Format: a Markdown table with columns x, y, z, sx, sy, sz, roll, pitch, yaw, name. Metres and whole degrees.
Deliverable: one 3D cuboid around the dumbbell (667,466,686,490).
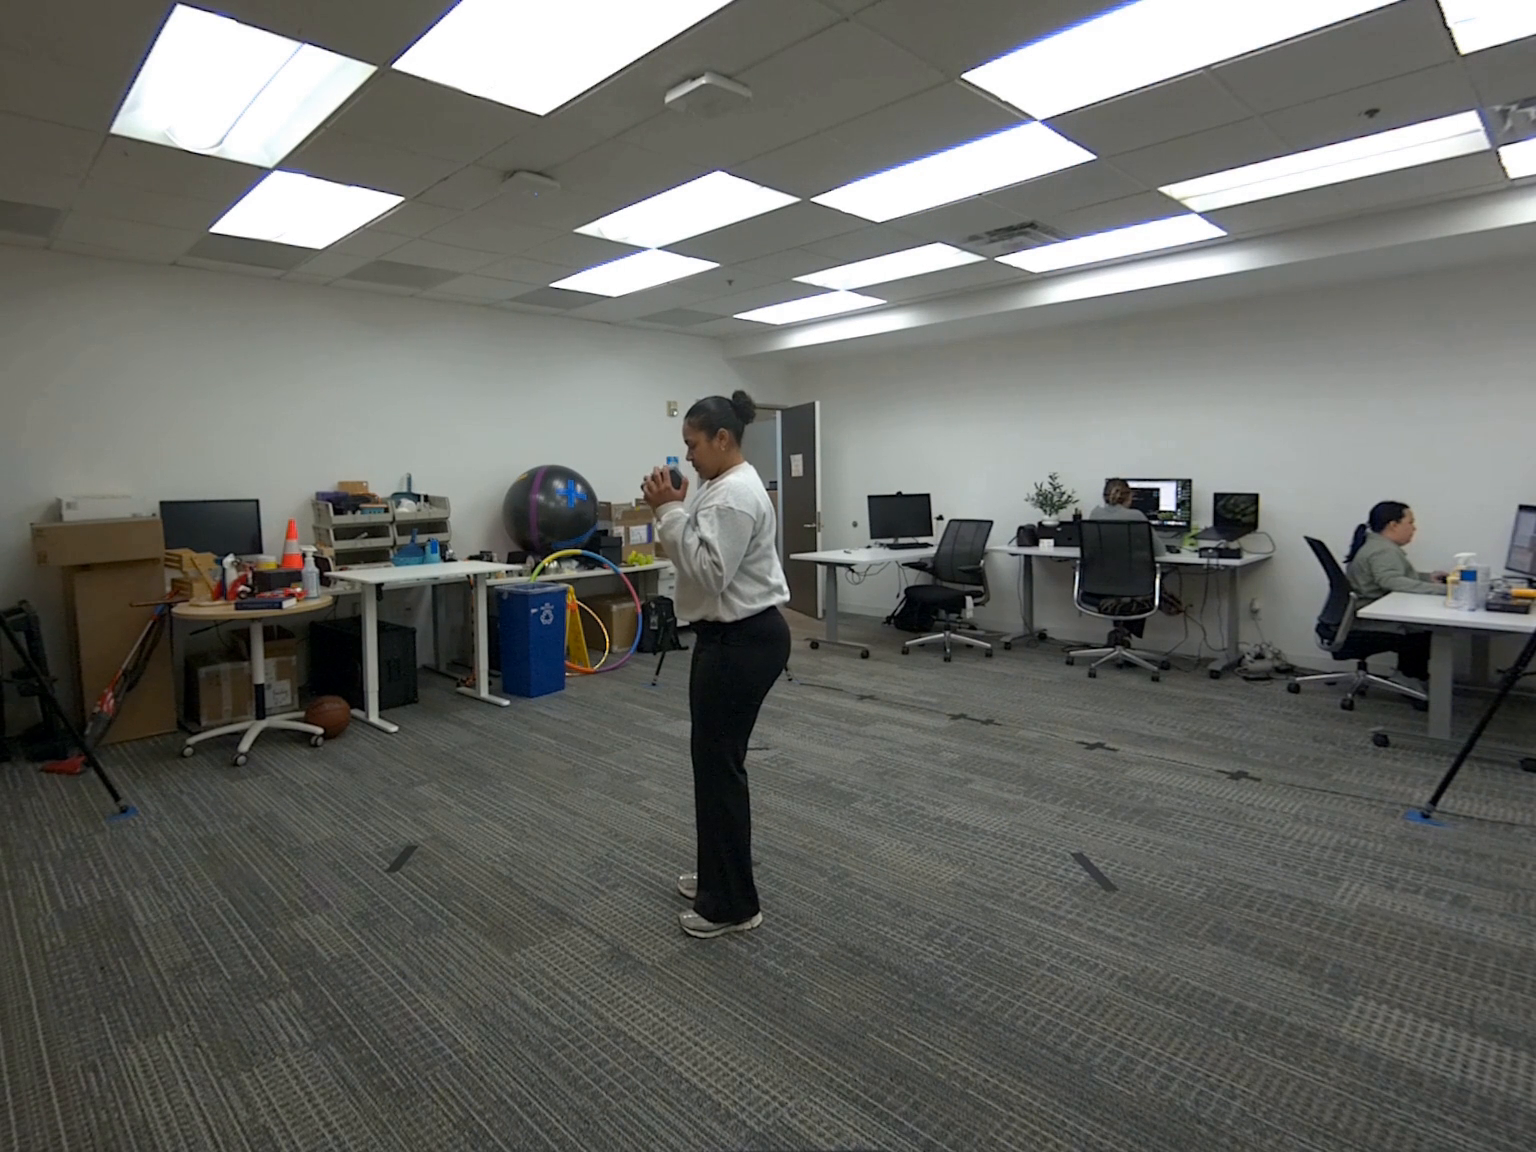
| x | y | z | sx | sy | sz | roll | pitch | yaw | name |
| --- | --- | --- | --- | --- | --- | --- | --- | --- | --- |
| -0.306 | -0.282 | 2.684 | 0.109 | 0.122 | 0.296 | -46 | 9 | -2 | dumbbell |
